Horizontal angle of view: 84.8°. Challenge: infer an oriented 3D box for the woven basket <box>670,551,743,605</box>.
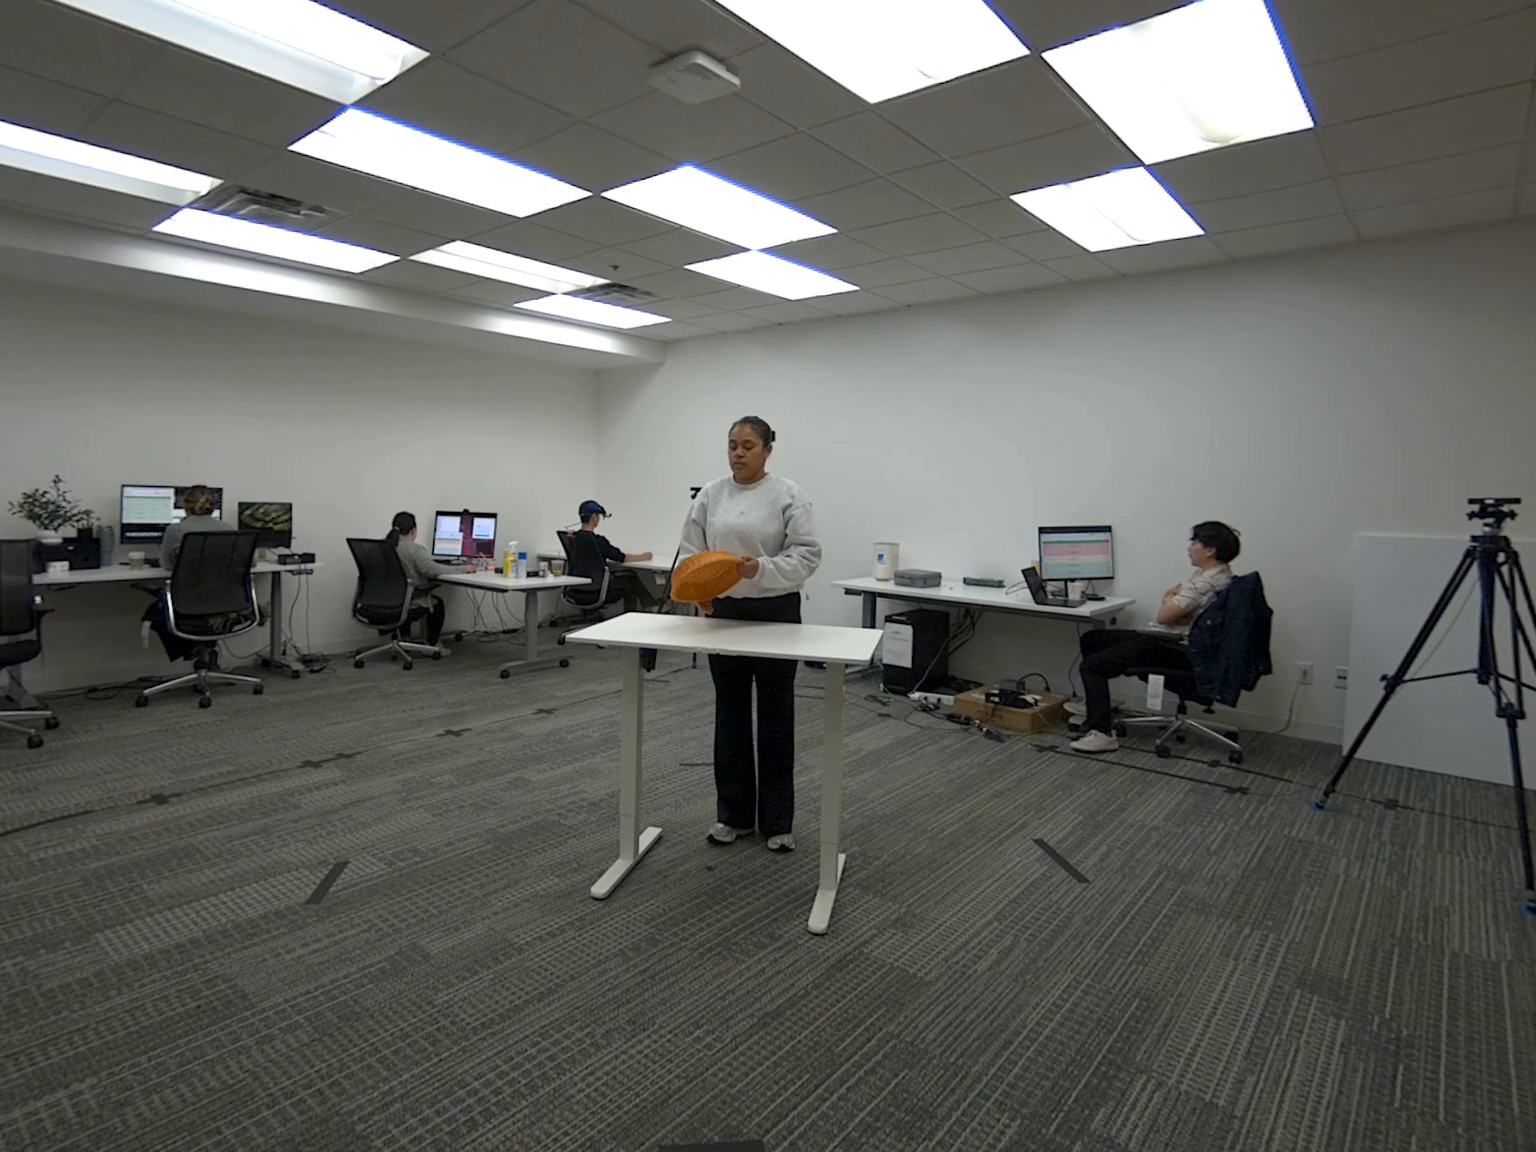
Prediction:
[{"bbox_3d":[-0.230,-0.010,3.033,0.253,0.075,0.339,-41,-22,21],"label":"woven basket"}]
